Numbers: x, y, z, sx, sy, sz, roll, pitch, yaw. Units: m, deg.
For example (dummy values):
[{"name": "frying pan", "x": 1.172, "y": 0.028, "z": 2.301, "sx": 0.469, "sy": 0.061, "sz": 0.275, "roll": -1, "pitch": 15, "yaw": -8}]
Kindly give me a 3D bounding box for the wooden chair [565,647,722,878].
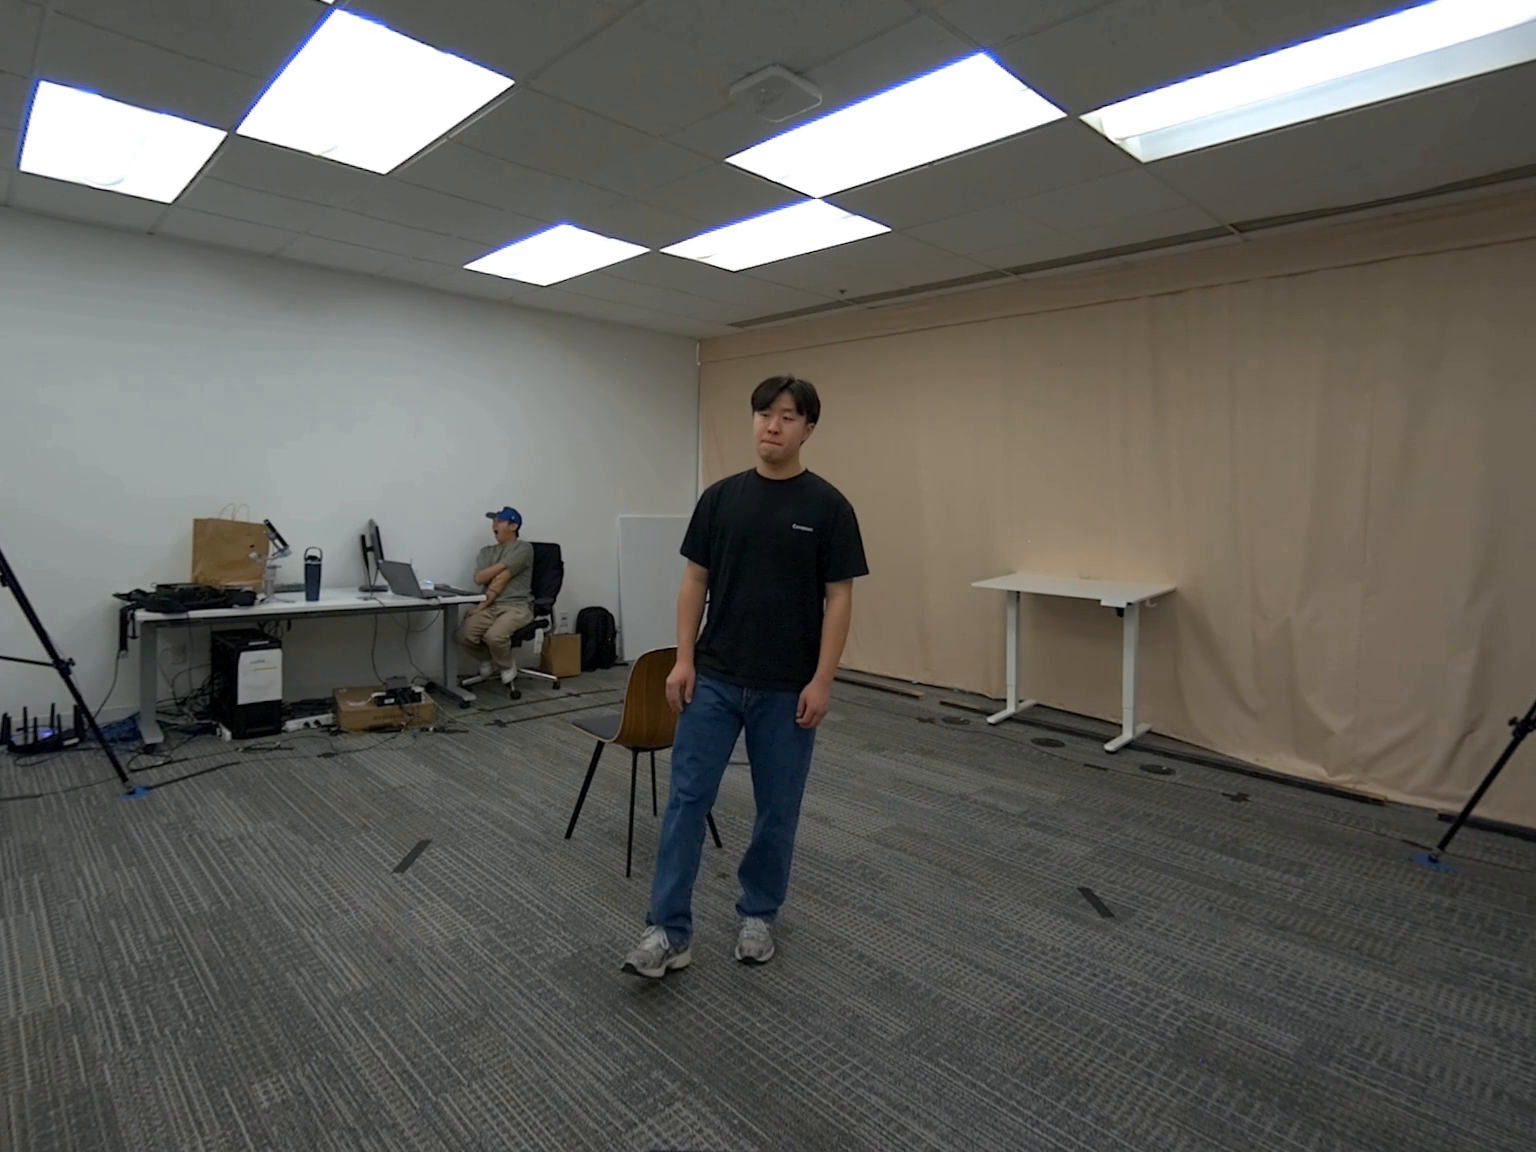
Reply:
[{"name": "wooden chair", "x": -0.500, "y": 0.649, "z": 3.355, "sx": 0.467, "sy": 0.873, "sz": 0.537, "roll": -1, "pitch": 8, "yaw": -41}]
